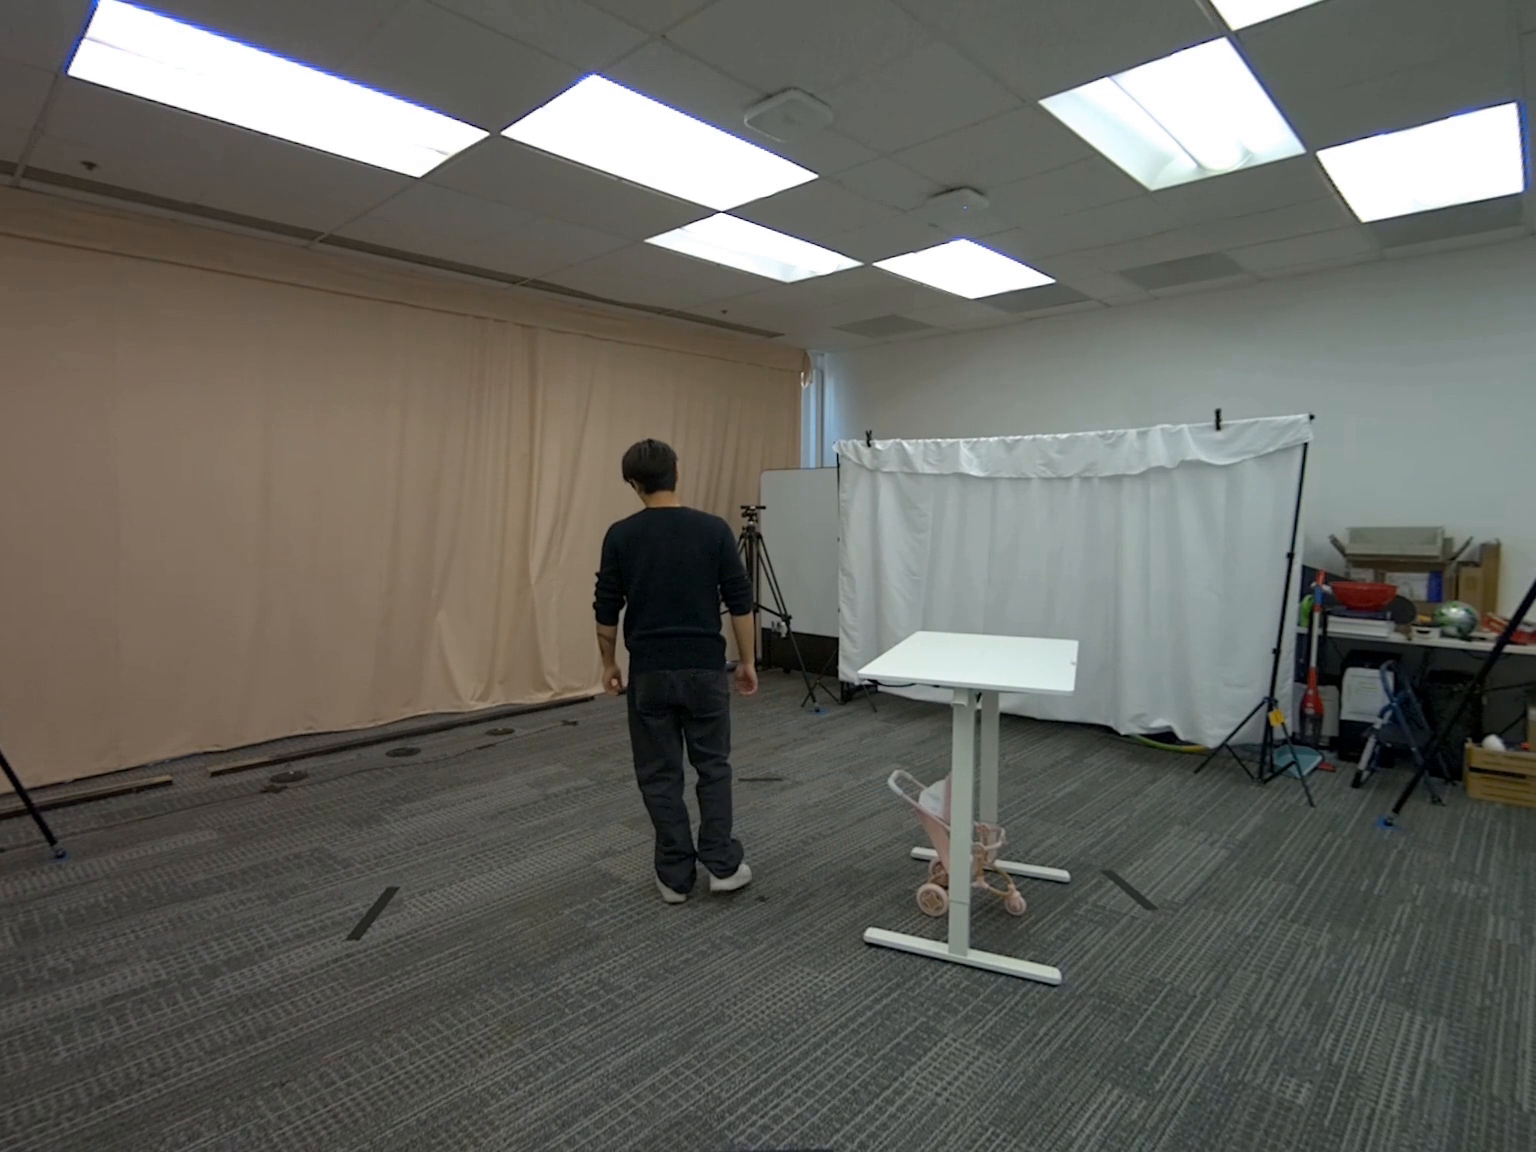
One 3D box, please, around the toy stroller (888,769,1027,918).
[{"bbox_3d":[0.671,0.928,2.923,0.348,0.537,0.274,-17,-4,27],"label":"toy stroller"}]
